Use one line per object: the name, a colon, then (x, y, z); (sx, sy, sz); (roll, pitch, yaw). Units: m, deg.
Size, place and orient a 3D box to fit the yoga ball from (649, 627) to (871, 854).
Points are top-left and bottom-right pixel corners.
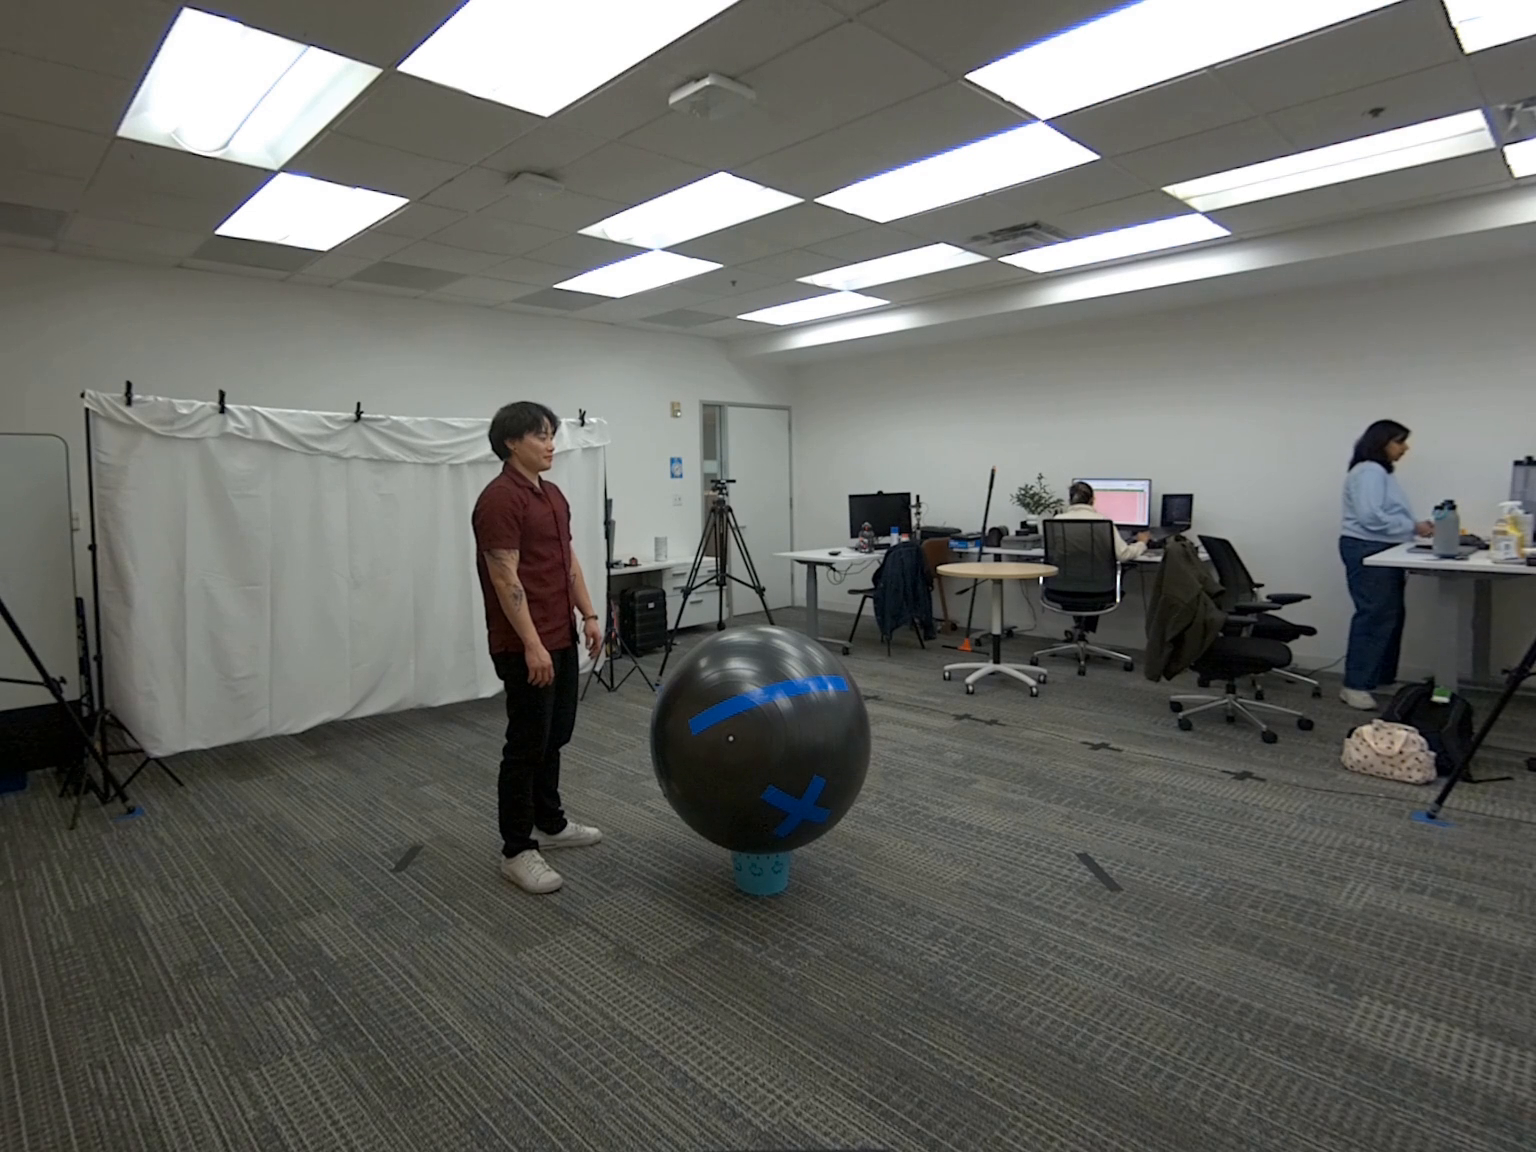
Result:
yoga ball: (-0.027, 0.549, 2.941); (0.757, 0.755, 0.762); (-1, 5, -2)
